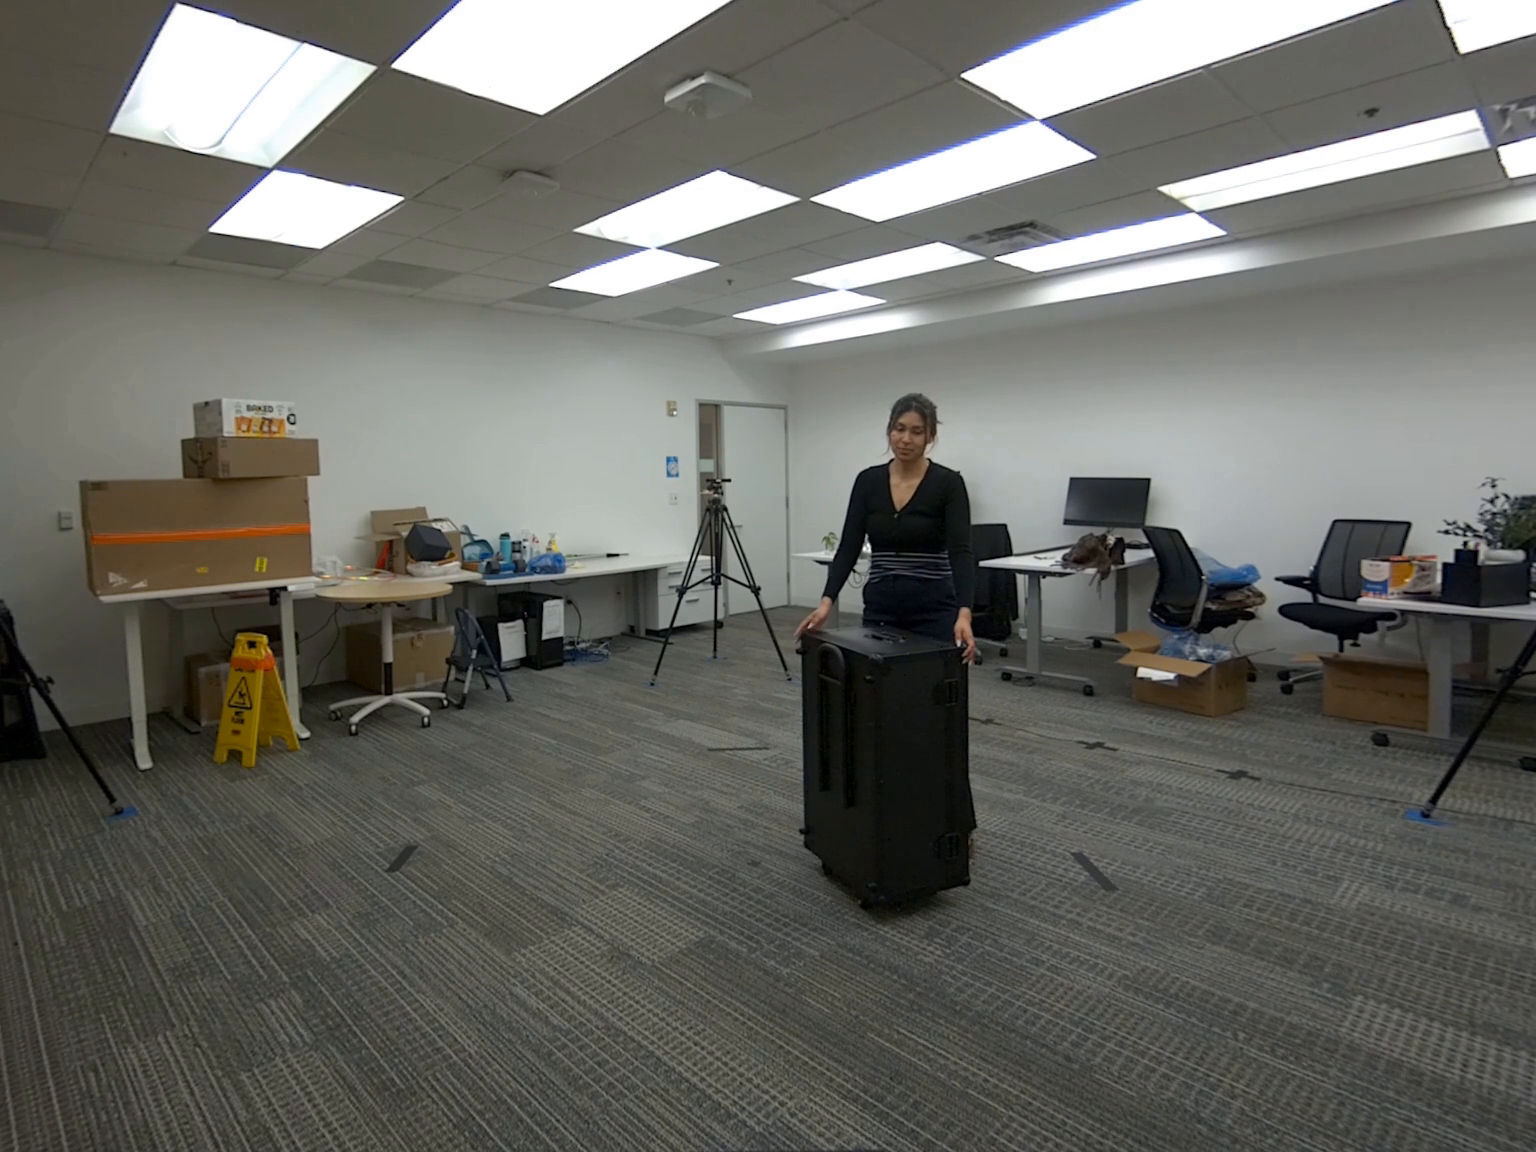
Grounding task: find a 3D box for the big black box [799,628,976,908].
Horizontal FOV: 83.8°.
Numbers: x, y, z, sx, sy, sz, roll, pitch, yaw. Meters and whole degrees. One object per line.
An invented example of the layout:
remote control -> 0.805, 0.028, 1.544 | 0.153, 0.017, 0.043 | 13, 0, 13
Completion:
big black box -> 0.378, 0.633, 2.886 | 0.388, 0.858, 0.534 | -3, 5, -24
